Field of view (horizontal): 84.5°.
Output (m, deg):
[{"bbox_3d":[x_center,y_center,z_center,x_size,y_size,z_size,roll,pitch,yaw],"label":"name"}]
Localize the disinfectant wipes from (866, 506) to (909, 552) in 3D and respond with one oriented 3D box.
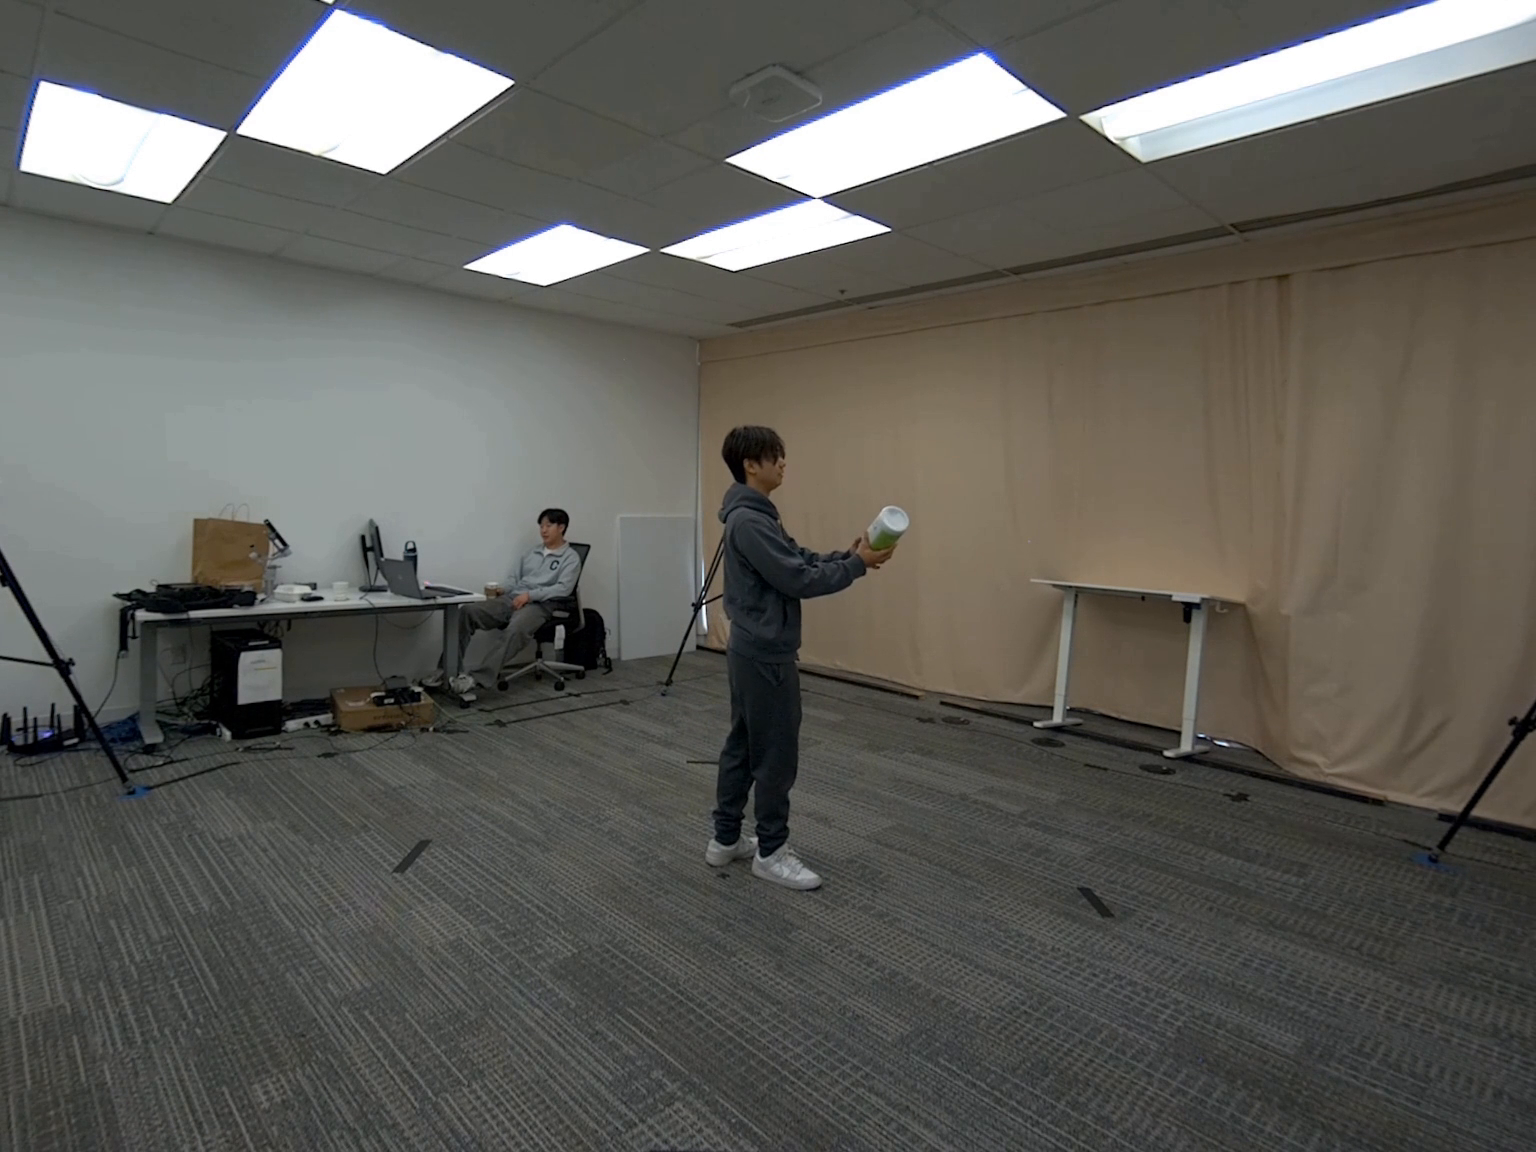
[{"bbox_3d":[0.406,-0.152,3.012,0.116,0.120,0.216,0,-30,-21],"label":"disinfectant wipes"}]
